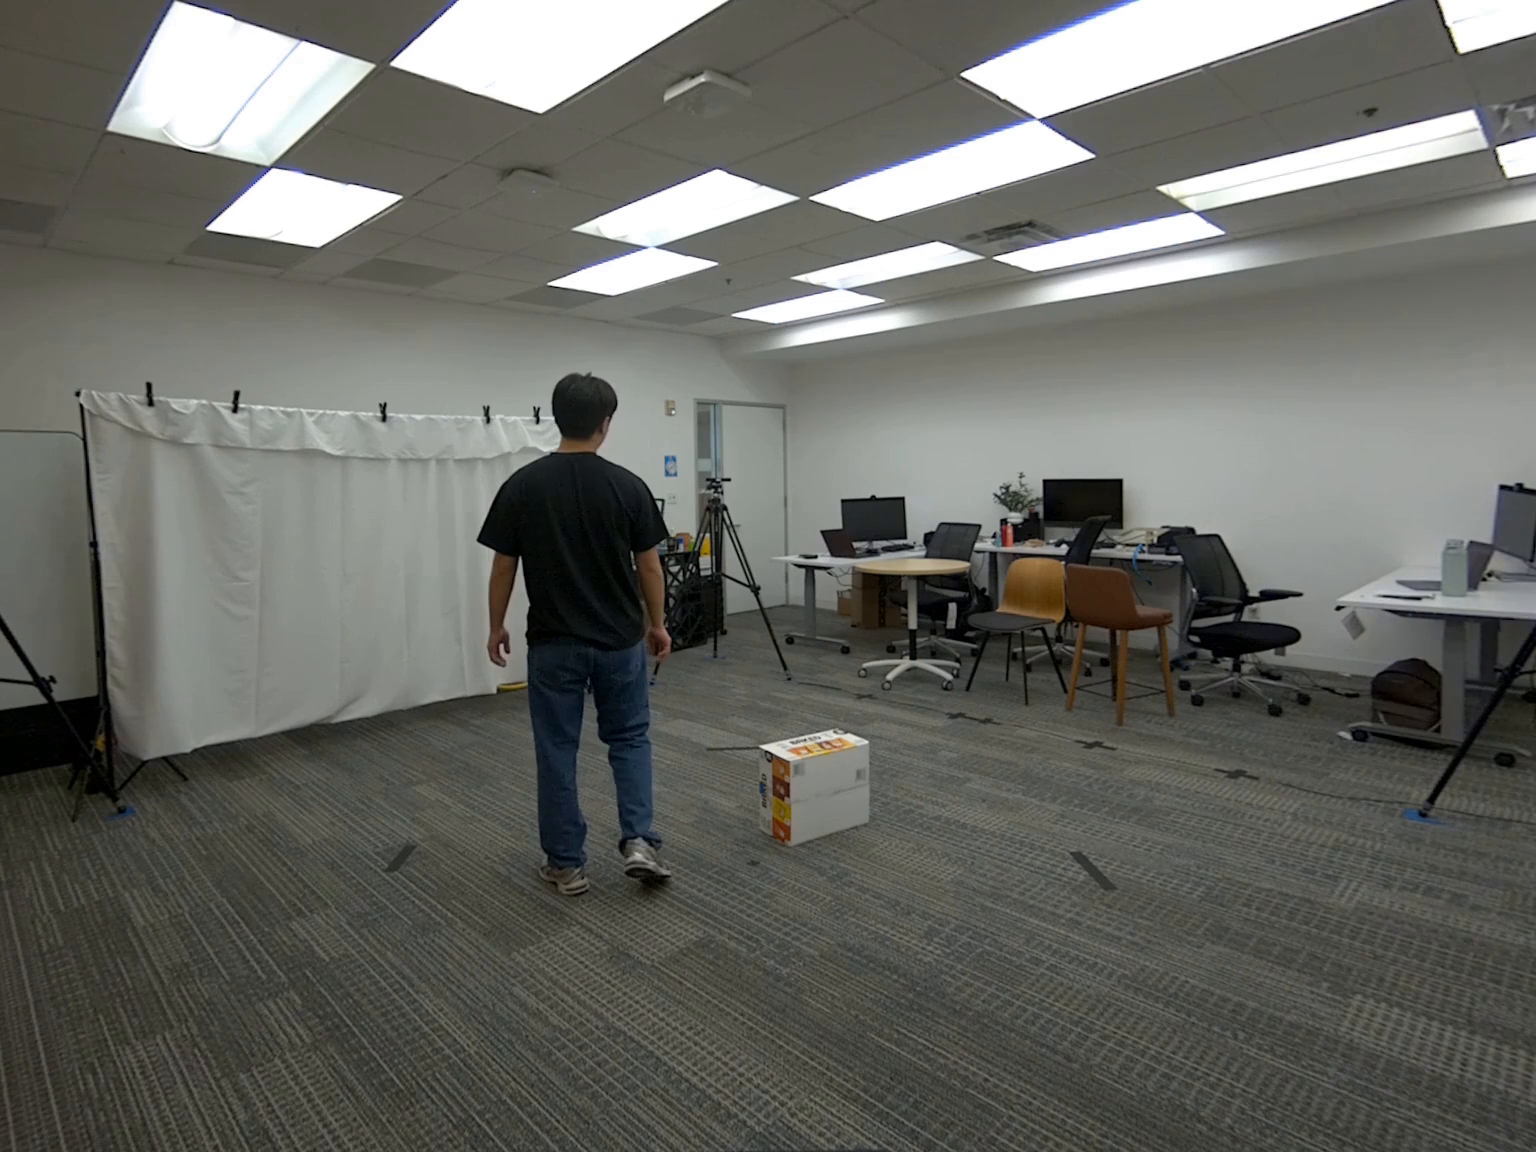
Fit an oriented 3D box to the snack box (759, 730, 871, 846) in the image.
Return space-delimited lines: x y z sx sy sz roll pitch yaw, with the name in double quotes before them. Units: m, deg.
"snack box" 0.191 0.835 3.410 0.395 0.338 0.212 -5 7 -33
